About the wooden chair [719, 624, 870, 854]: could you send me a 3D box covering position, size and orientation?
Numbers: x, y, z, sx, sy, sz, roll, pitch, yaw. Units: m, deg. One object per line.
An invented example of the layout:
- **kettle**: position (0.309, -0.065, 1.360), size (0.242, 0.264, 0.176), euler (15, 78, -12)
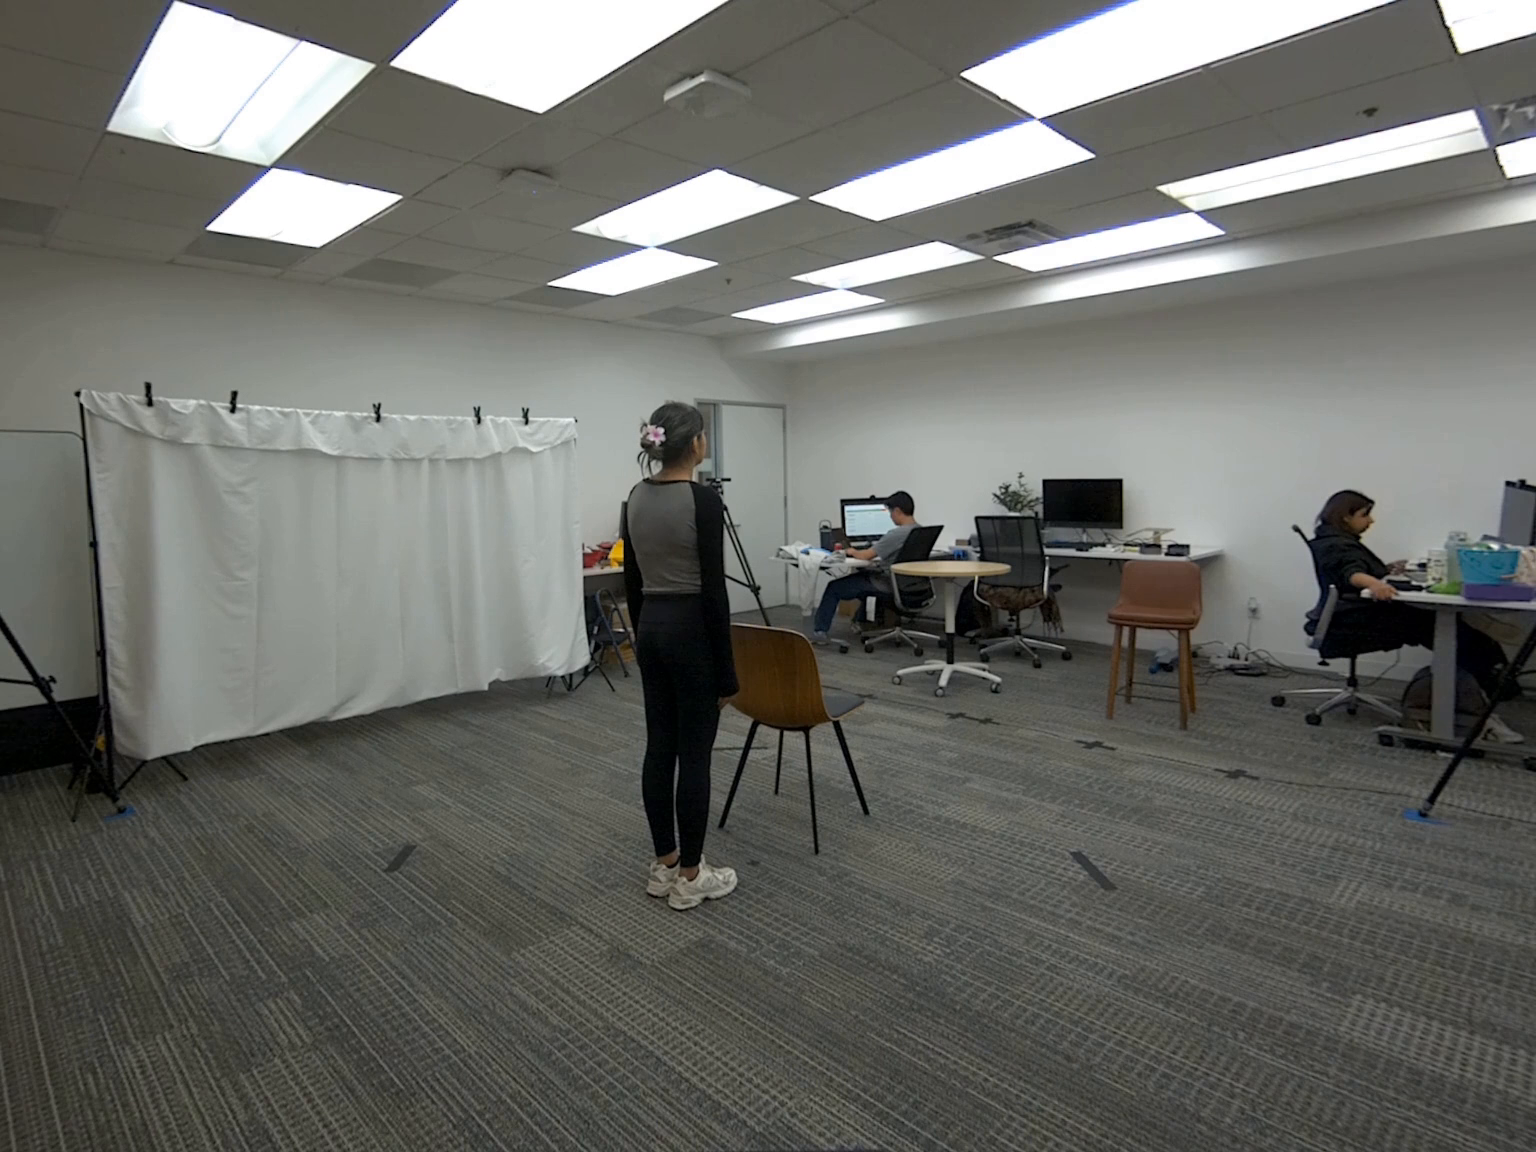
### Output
- **wooden chair**: position (0.107, 0.572, 3.452), size (0.491, 0.871, 0.513), euler (2, 9, 33)
